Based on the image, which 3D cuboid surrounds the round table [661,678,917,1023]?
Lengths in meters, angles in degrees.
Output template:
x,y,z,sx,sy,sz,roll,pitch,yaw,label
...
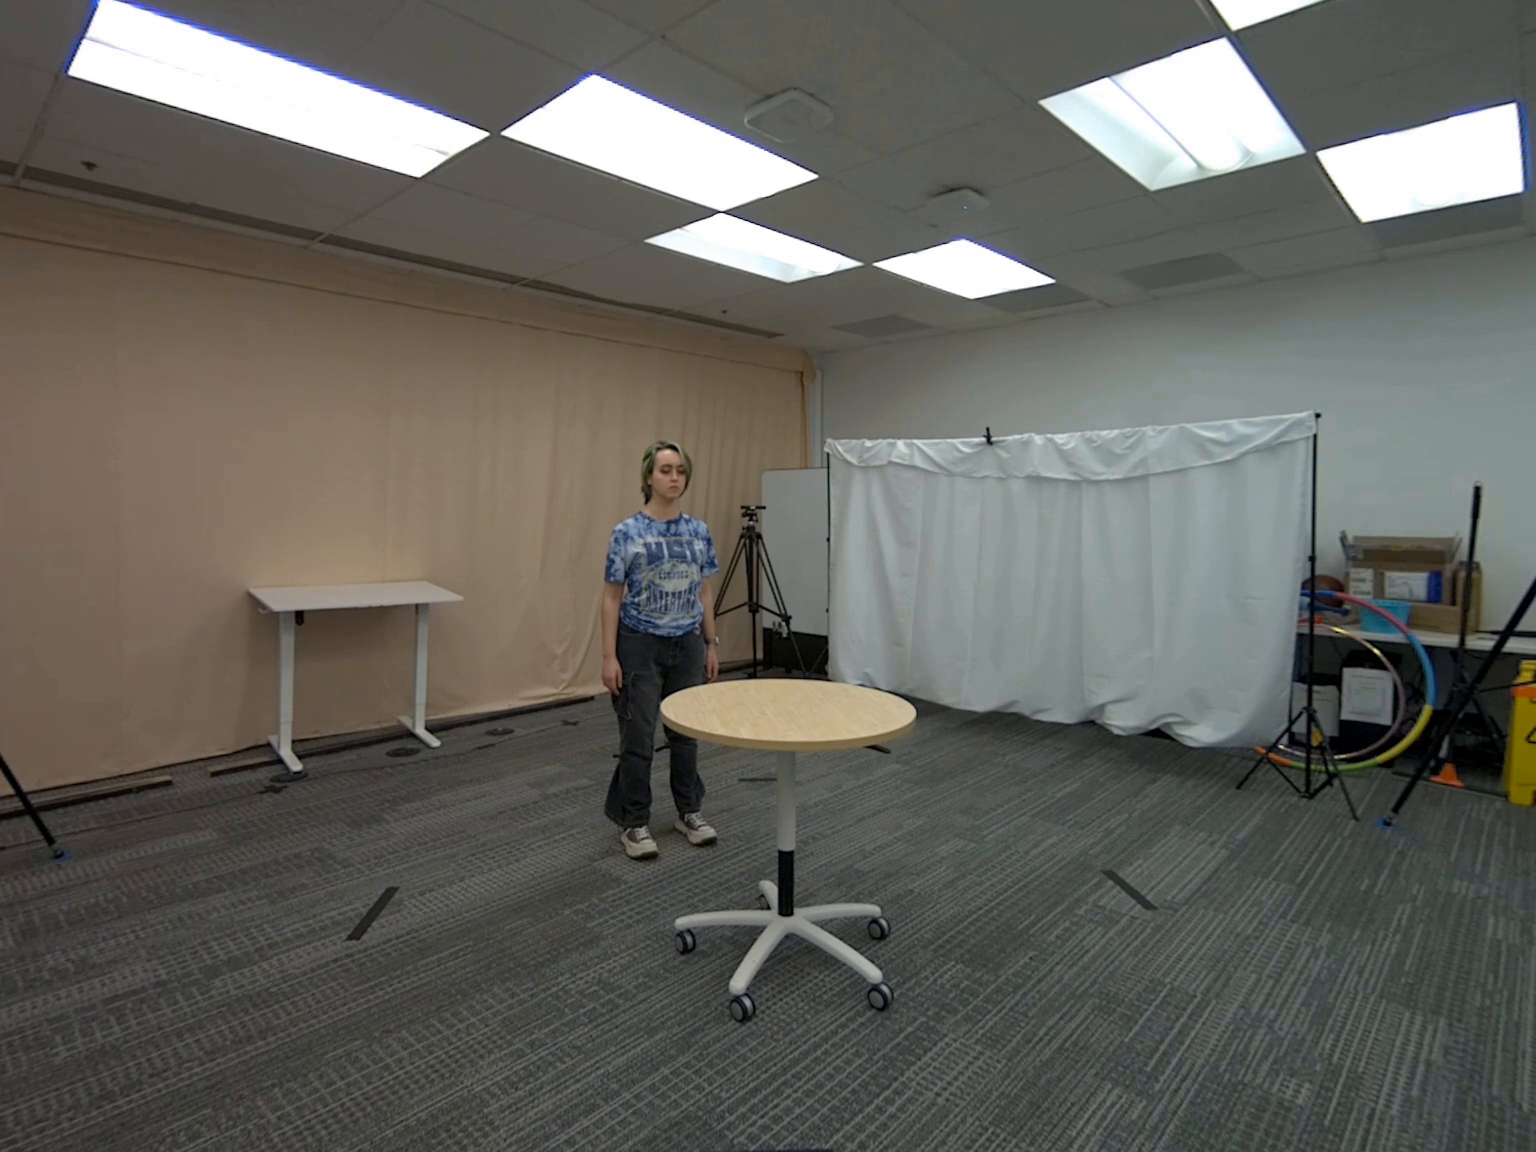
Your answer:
x,y,z,sx,sy,sz,roll,pitch,yaw,label
0.066,0.790,2.570,0.763,0.792,0.767,0,4,-2,round table
